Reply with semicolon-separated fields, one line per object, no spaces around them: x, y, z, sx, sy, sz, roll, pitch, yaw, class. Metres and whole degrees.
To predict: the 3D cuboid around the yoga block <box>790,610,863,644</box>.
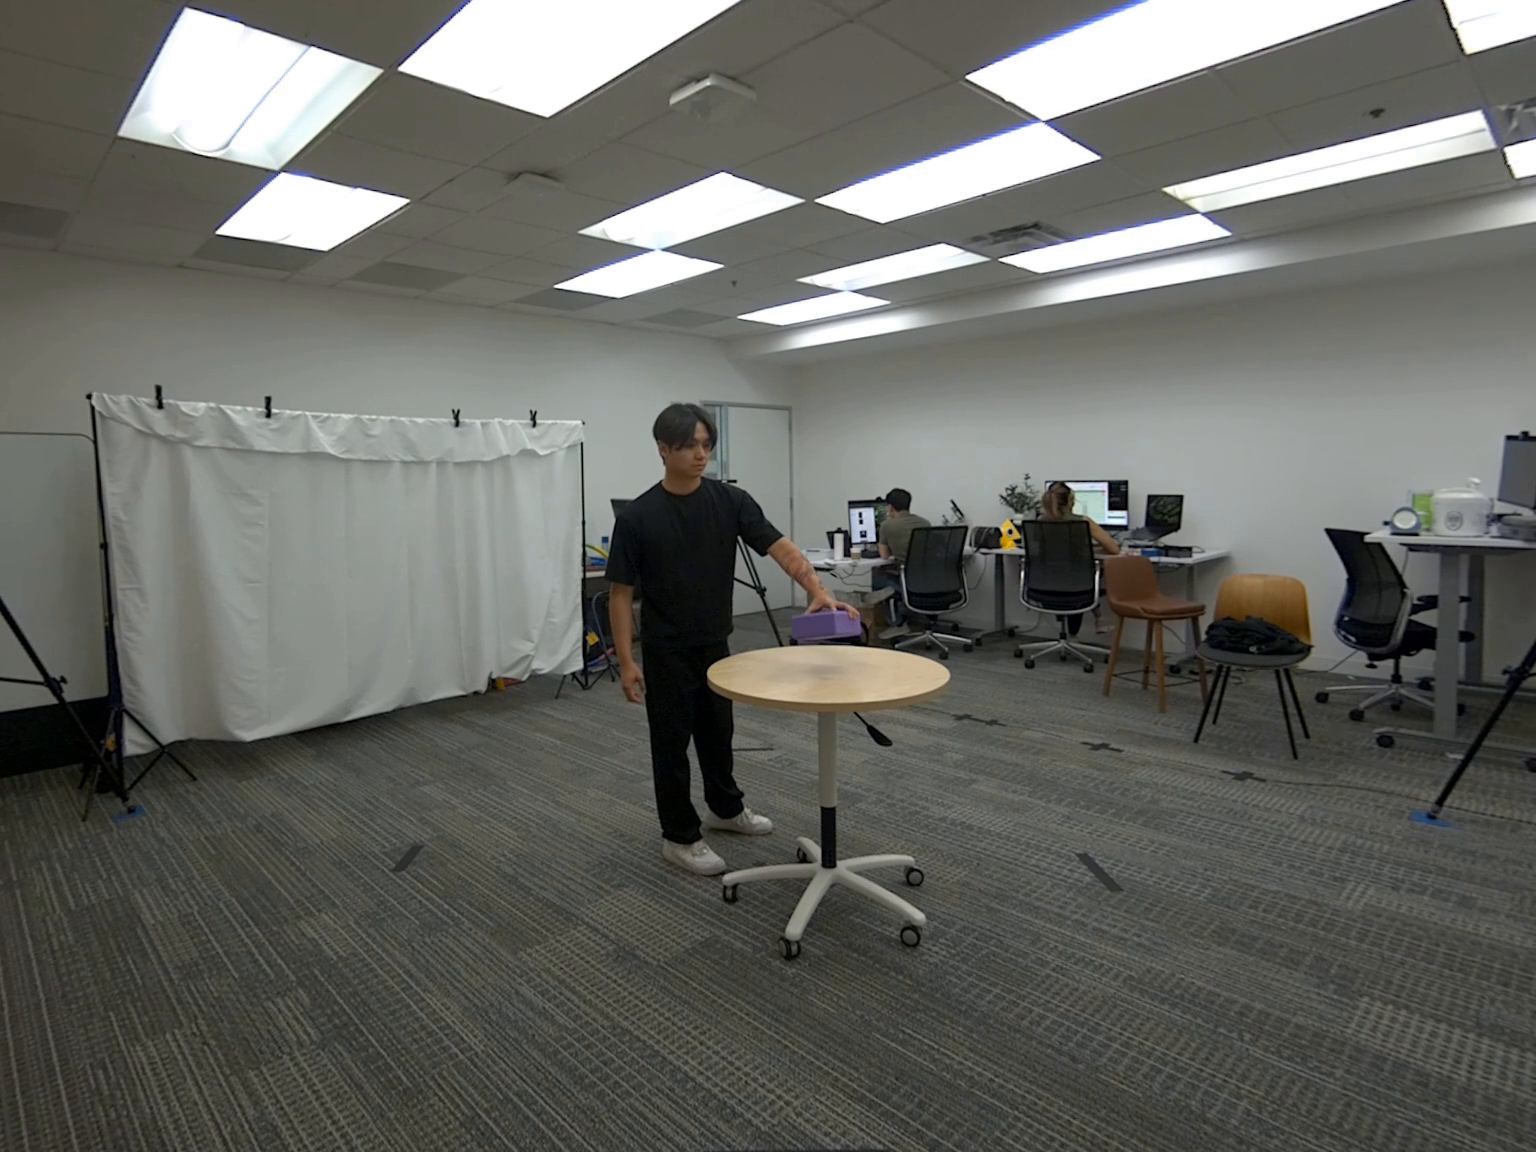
0.191;0.160;2.708;0.152;0.077;0.223;-7;-8;26;yoga block
